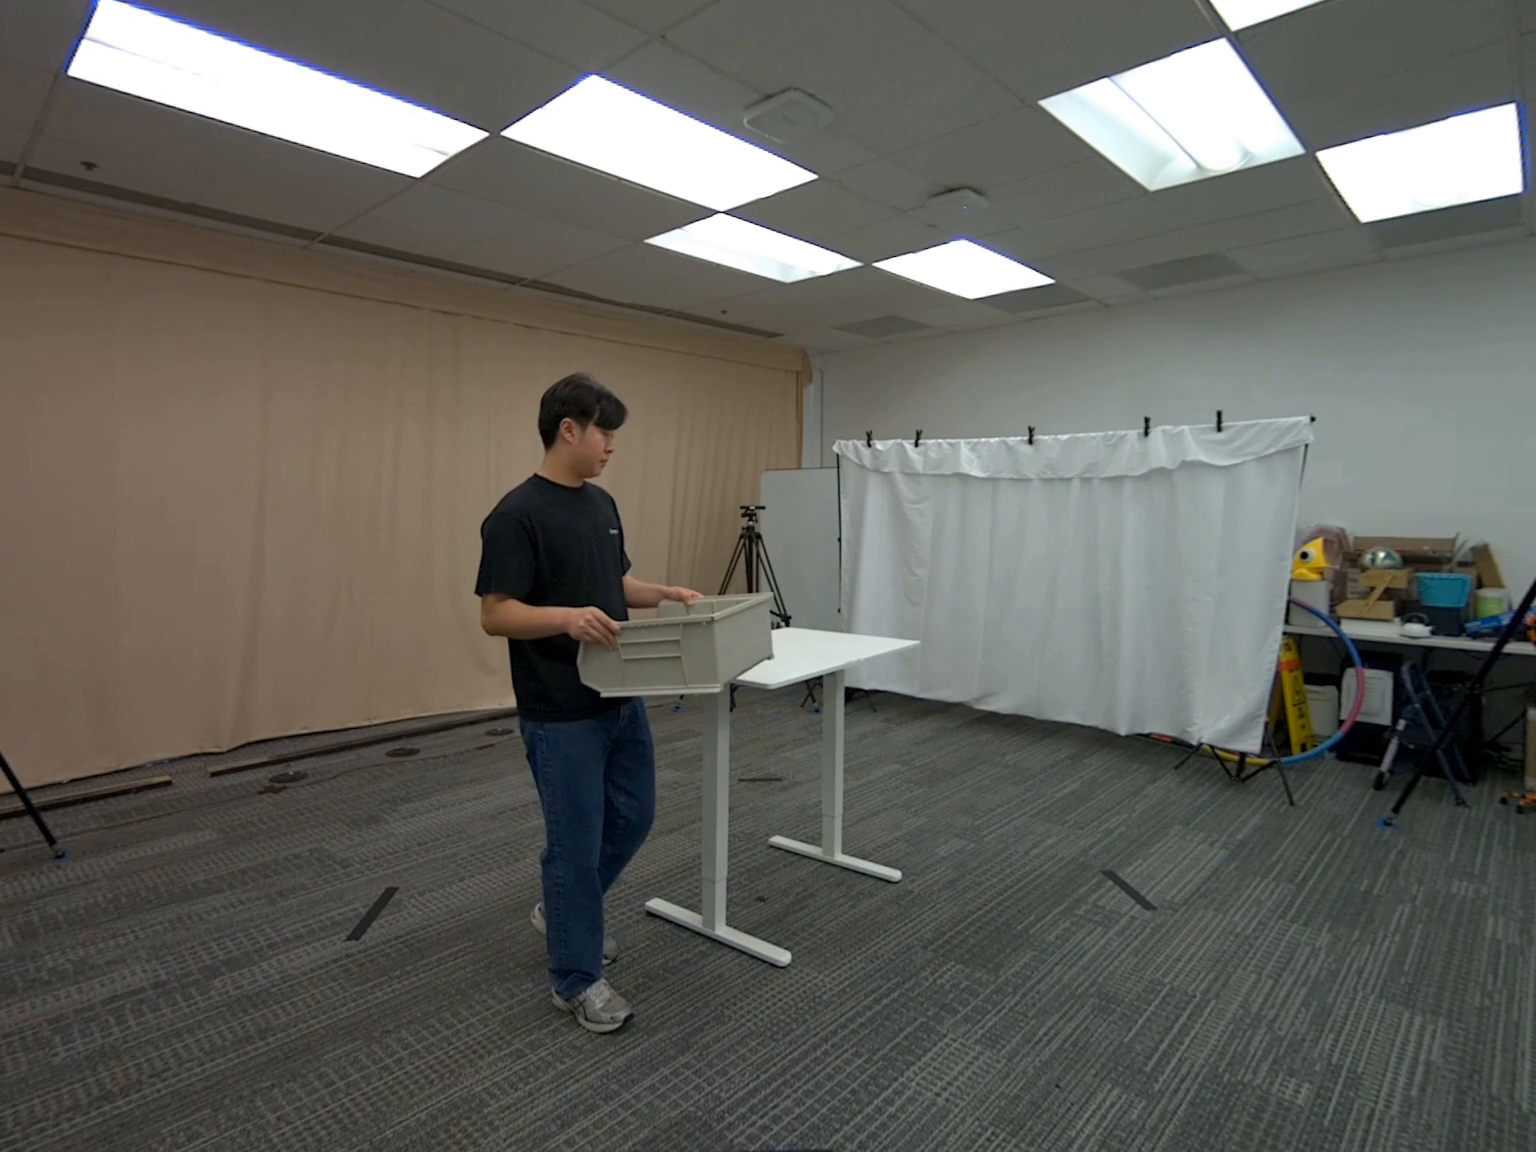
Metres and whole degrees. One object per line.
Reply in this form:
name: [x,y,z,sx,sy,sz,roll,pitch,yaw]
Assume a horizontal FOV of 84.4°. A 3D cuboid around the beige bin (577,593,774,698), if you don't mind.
beige bin: [-0.221,0.176,2.159,0.385,0.188,0.415,-3,4,19]
